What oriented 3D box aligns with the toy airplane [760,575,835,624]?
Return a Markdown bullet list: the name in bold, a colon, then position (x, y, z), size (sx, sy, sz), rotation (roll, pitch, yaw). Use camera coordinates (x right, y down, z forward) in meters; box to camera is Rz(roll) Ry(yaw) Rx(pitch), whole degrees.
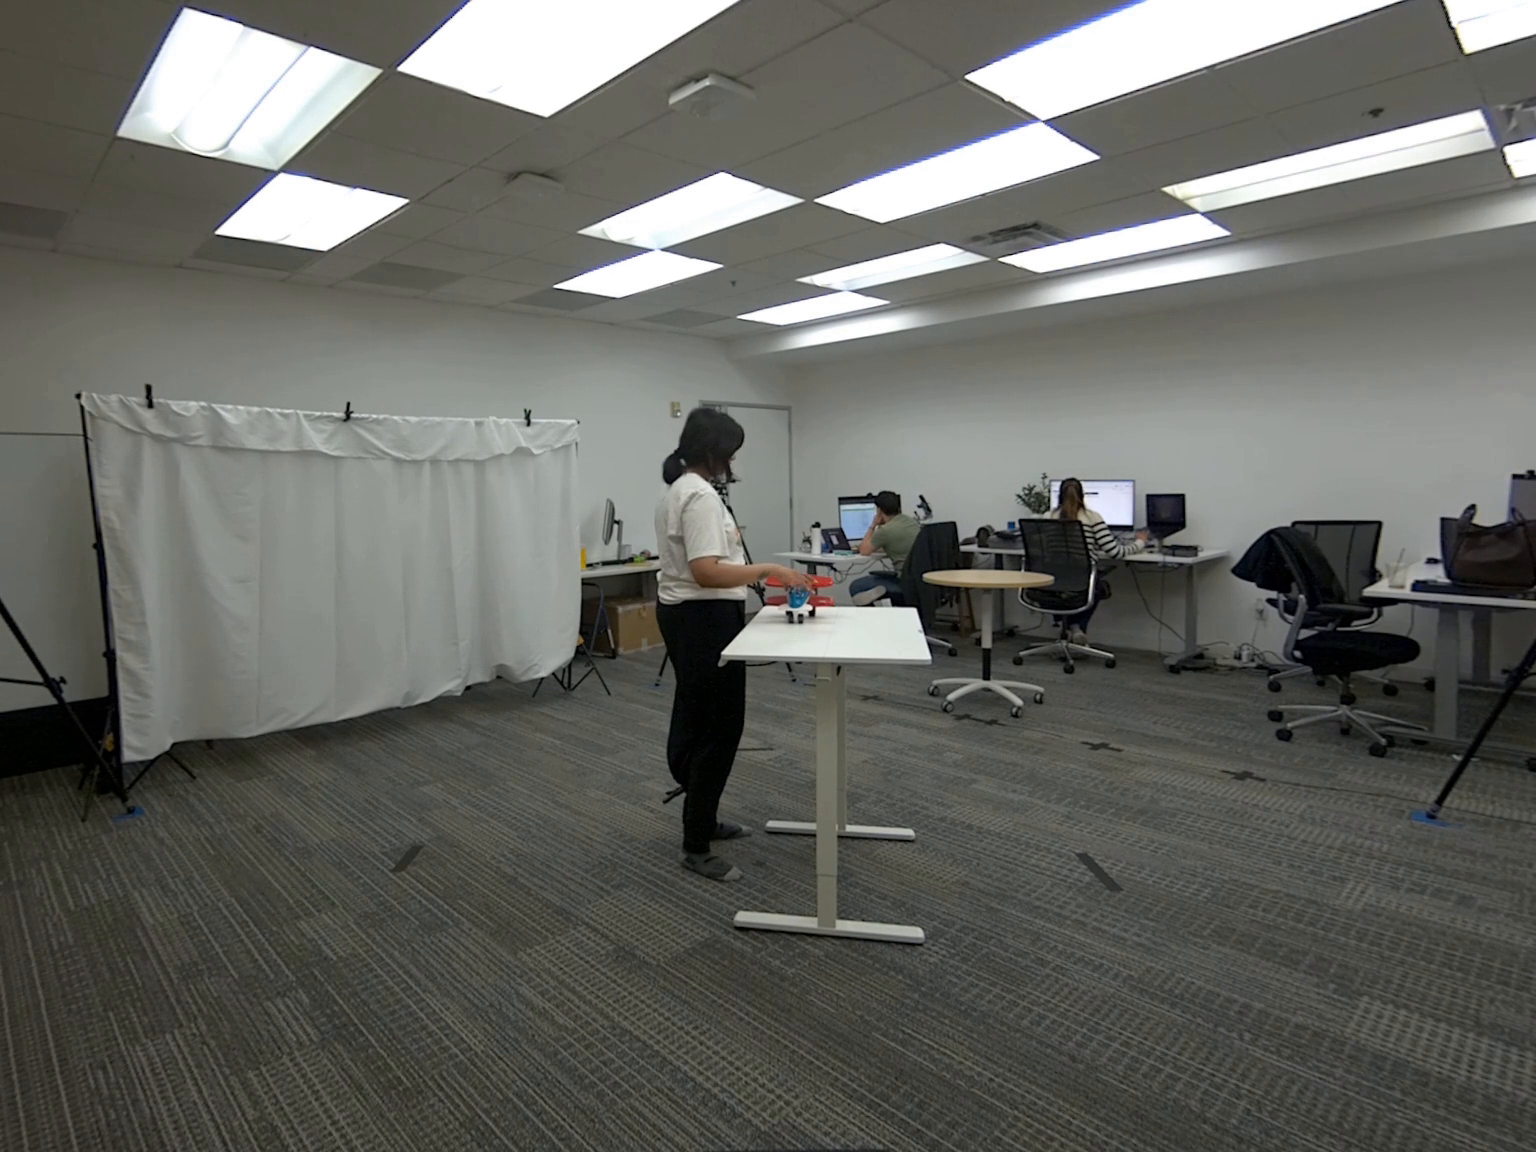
- **toy airplane**: position (0.133, 0.082, 3.136), size (0.247, 0.156, 0.265), rotation (-4, 6, -20)
